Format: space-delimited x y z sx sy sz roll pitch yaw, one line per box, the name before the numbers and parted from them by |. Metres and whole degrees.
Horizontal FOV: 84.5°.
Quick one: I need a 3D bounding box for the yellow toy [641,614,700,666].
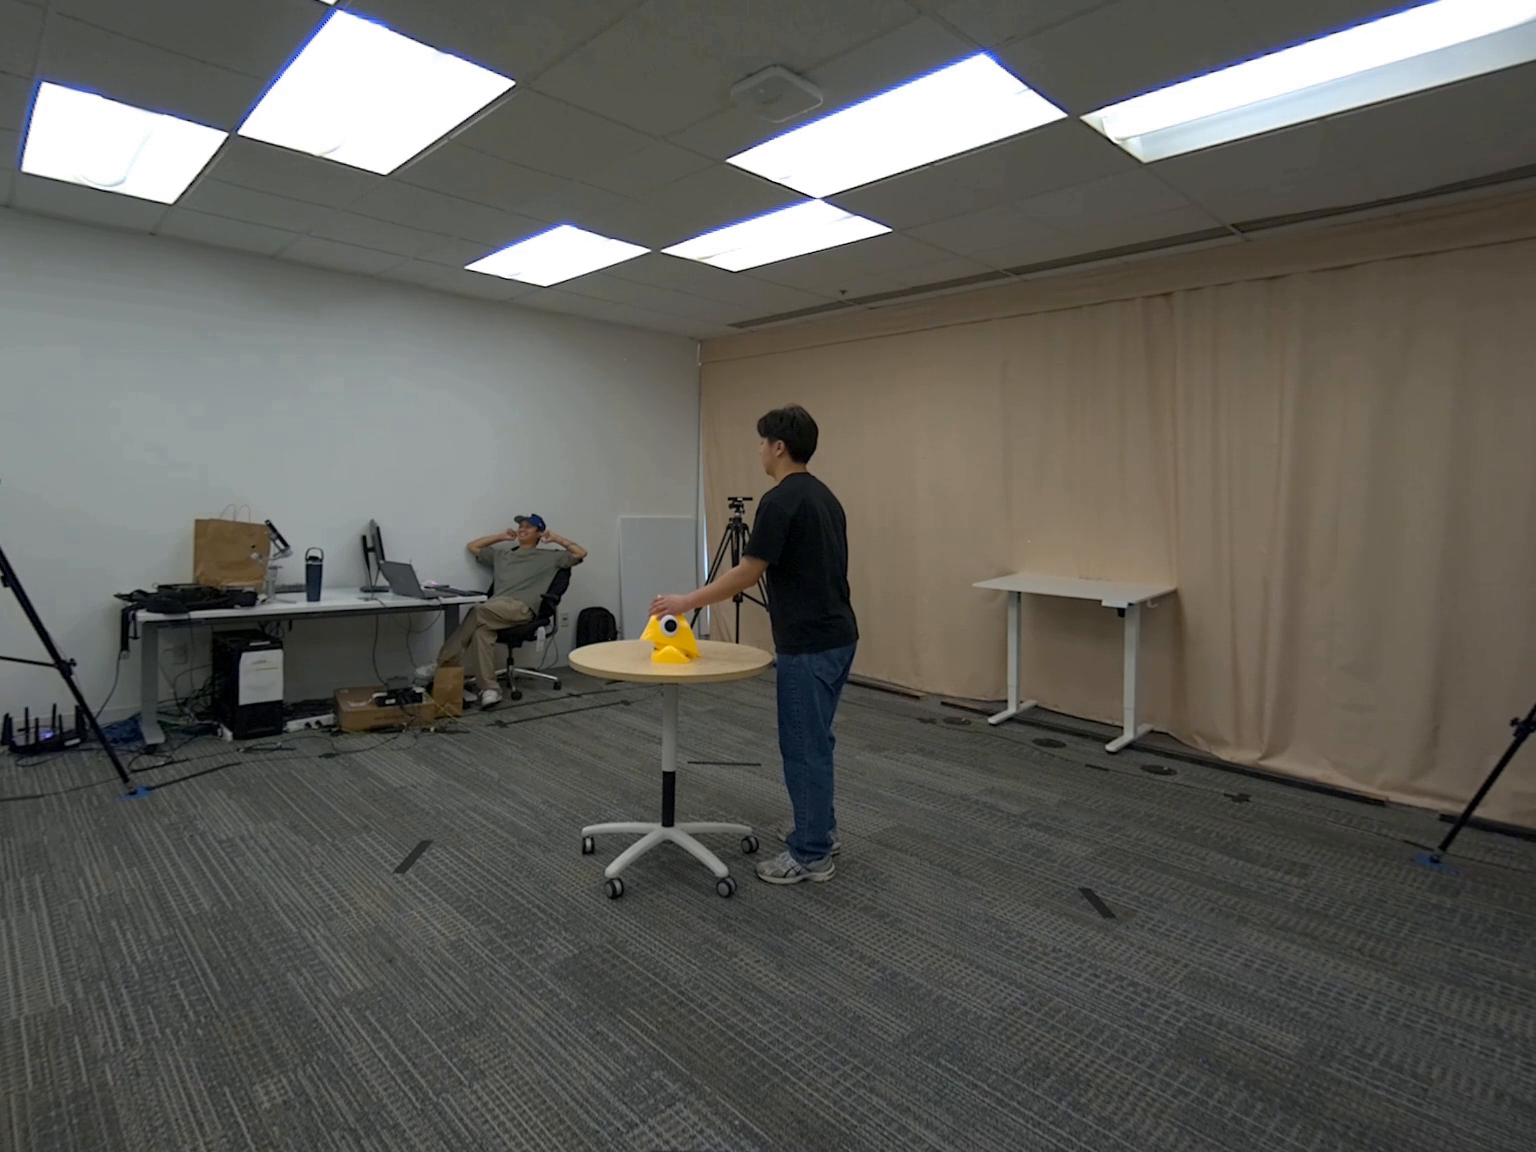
yellow toy | -0.353 0.190 3.118 0.196 0.230 0.202 2 4 16
